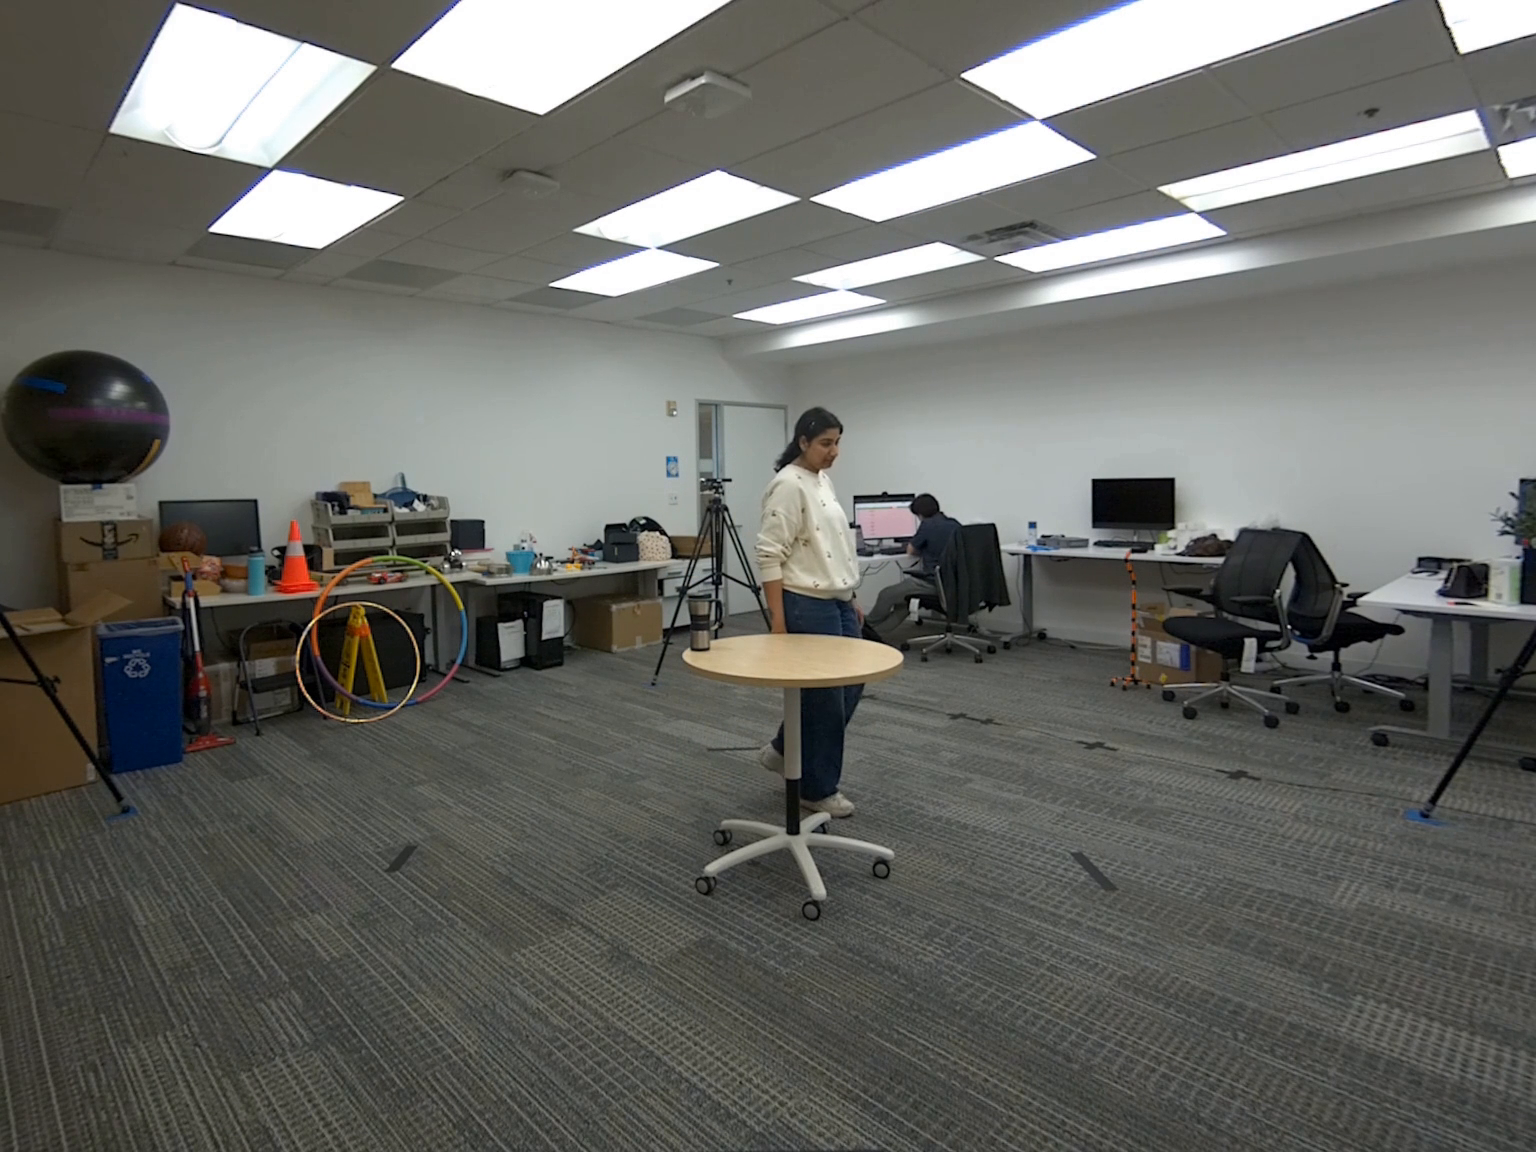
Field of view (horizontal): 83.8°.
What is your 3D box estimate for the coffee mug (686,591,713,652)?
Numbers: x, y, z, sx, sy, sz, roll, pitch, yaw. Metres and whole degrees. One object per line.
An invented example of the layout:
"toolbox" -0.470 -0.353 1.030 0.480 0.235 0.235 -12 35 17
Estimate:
"coffee mug" -0.223 0.170 3.055 0.125 0.203 0.085 0 -2 32
